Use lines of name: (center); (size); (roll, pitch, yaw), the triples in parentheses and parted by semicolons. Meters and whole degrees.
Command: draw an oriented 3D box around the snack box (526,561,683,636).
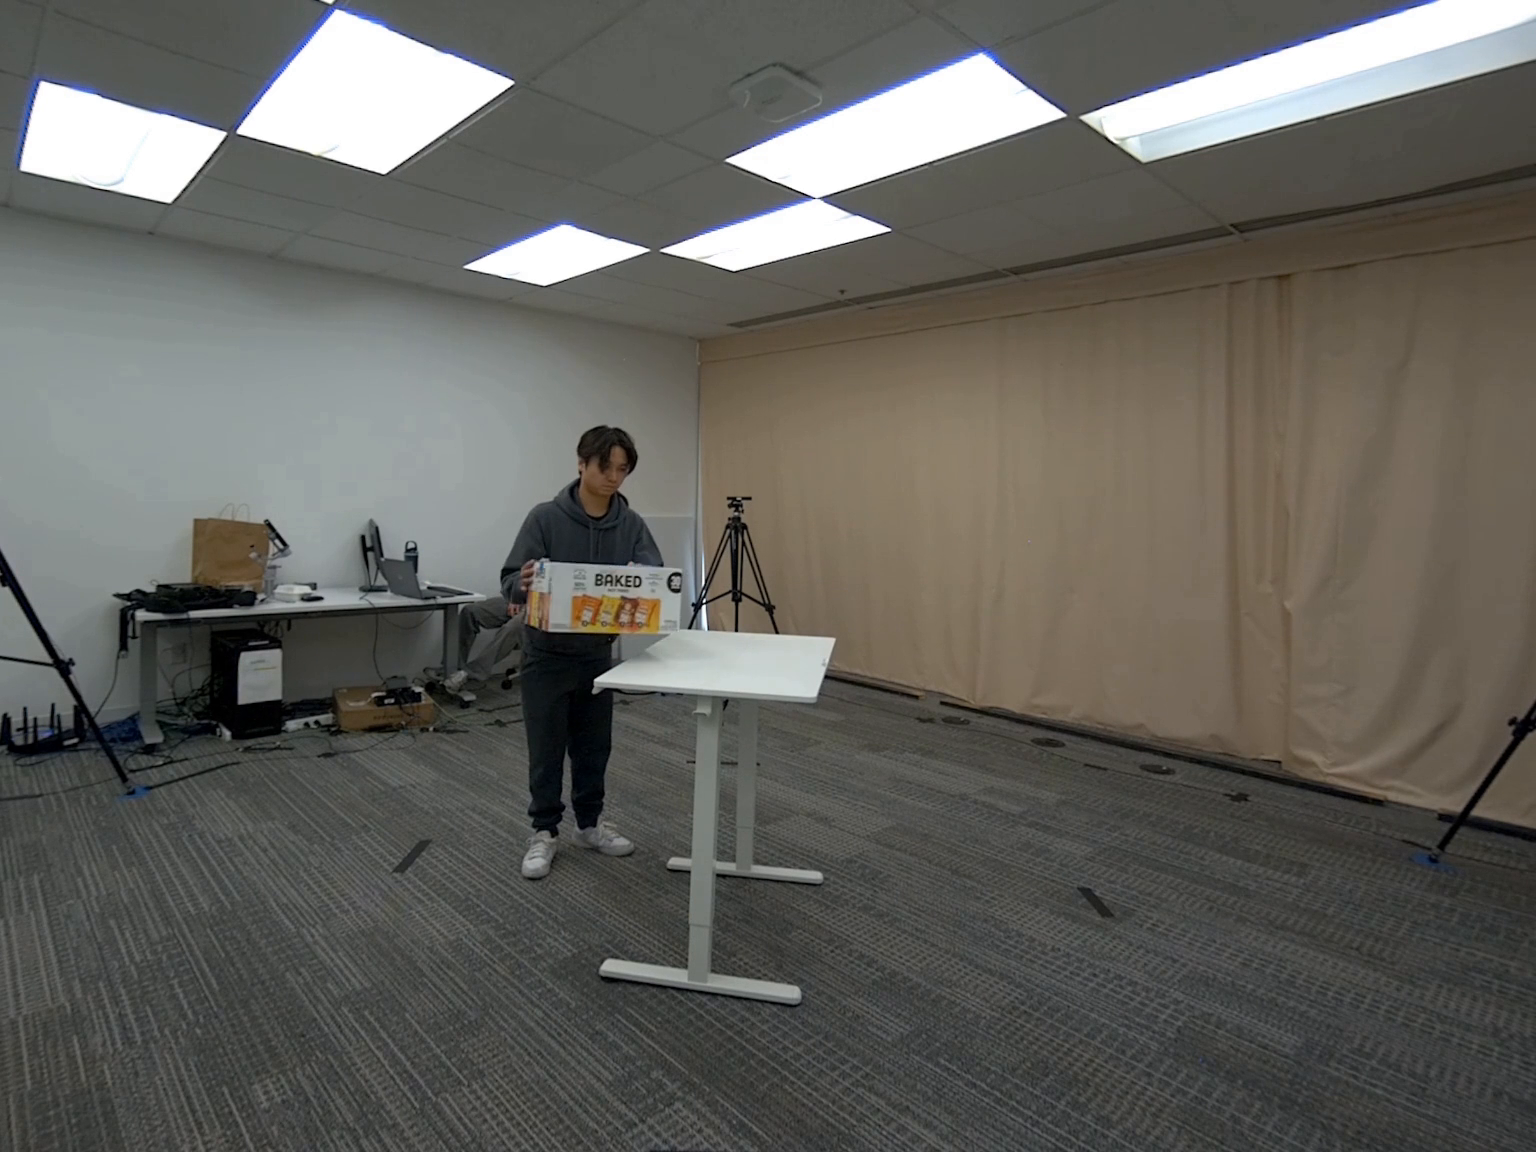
snack box: (-0.528, 0.073, 2.662); (0.397, 0.206, 0.347); (3, 0, -27)
